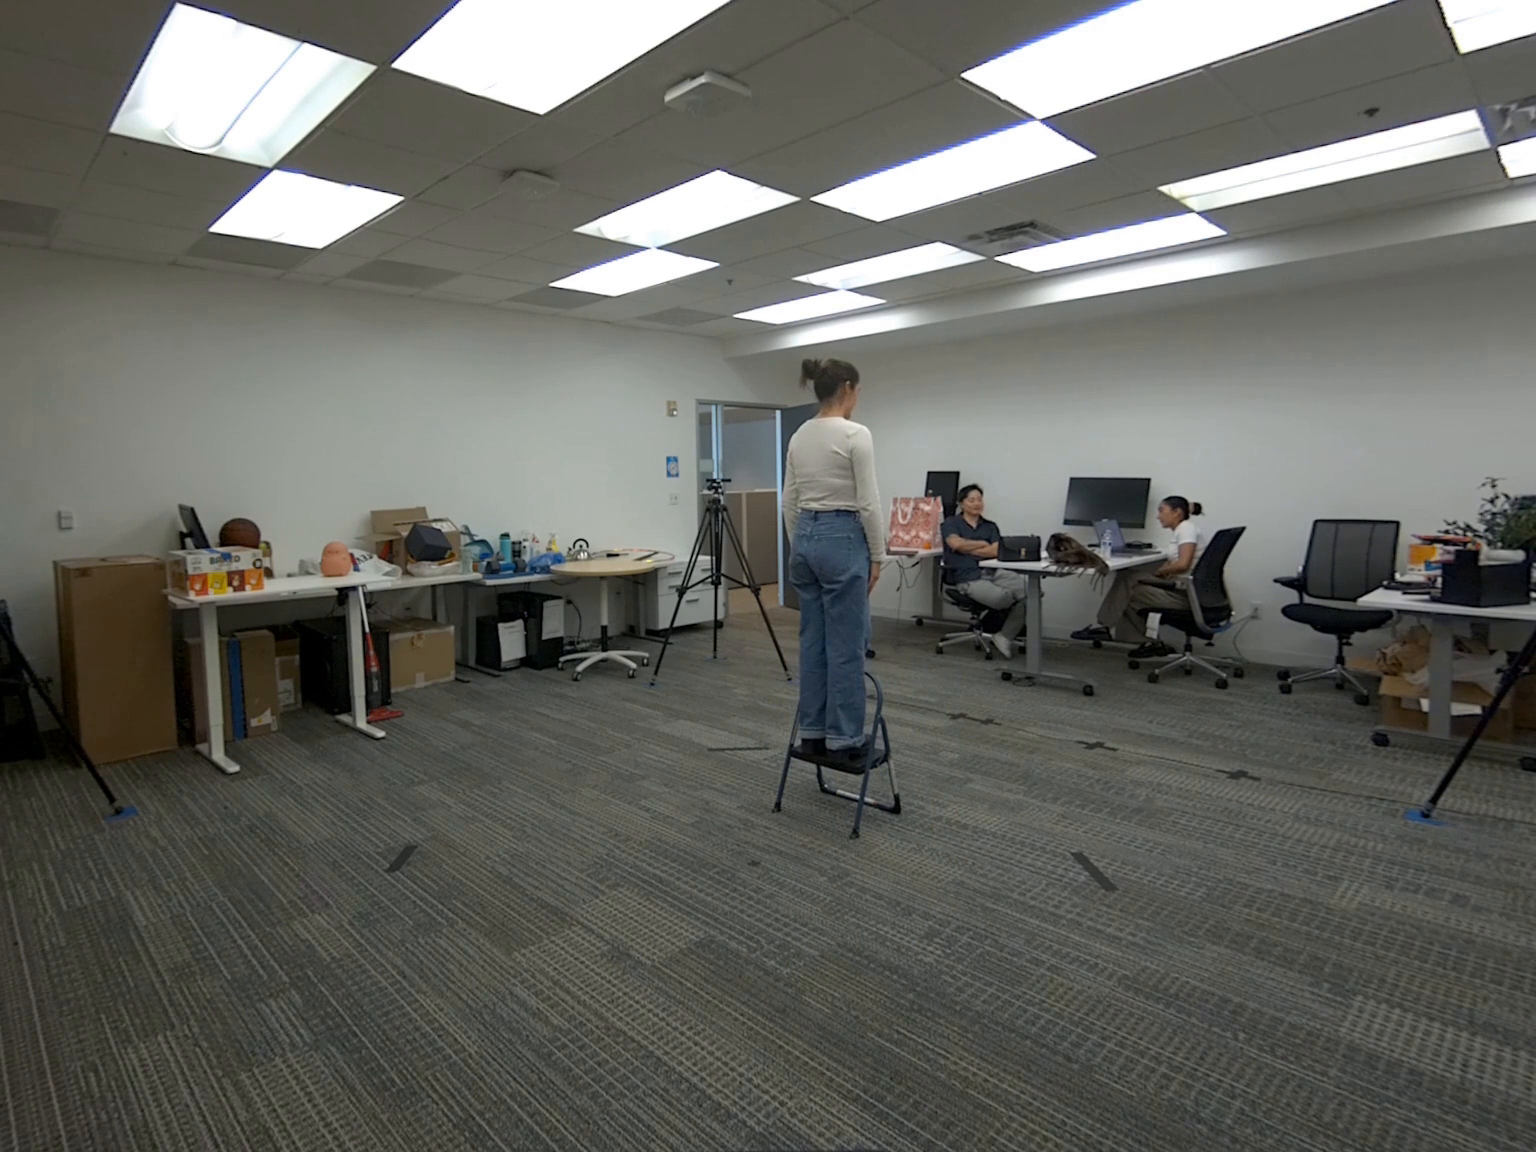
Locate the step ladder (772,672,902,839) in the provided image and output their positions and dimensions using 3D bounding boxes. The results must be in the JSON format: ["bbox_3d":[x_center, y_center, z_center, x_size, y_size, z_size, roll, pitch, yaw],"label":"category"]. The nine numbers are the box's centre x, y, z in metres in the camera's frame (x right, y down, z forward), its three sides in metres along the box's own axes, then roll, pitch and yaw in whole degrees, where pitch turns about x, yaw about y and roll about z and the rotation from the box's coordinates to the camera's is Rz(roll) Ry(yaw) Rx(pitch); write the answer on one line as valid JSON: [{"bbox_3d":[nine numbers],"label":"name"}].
[{"bbox_3d":[0.289,0.687,3.550,0.444,0.604,0.340,4,6,42],"label":"step ladder"}]
